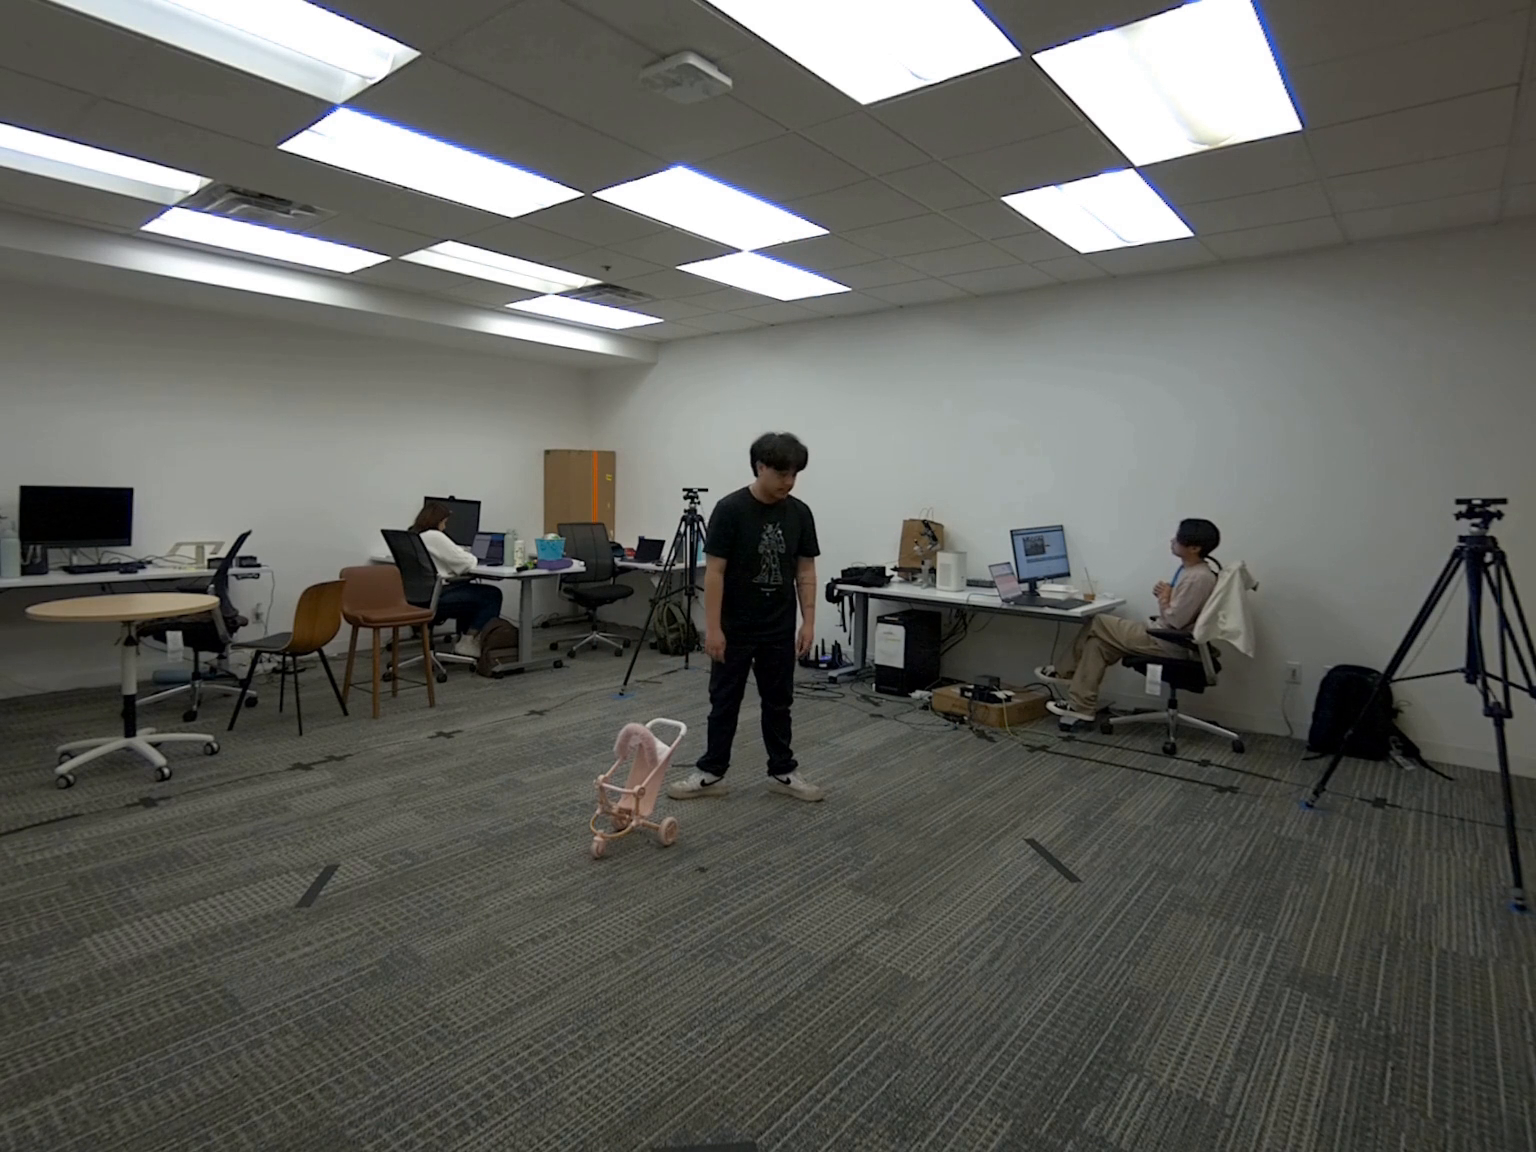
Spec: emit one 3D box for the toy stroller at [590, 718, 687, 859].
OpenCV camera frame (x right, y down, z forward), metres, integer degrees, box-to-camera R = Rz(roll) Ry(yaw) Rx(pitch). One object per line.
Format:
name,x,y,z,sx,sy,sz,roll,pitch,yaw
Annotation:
toy stroller,-0.537,0.815,3.332,0.291,0.539,0.328,3,-11,39
